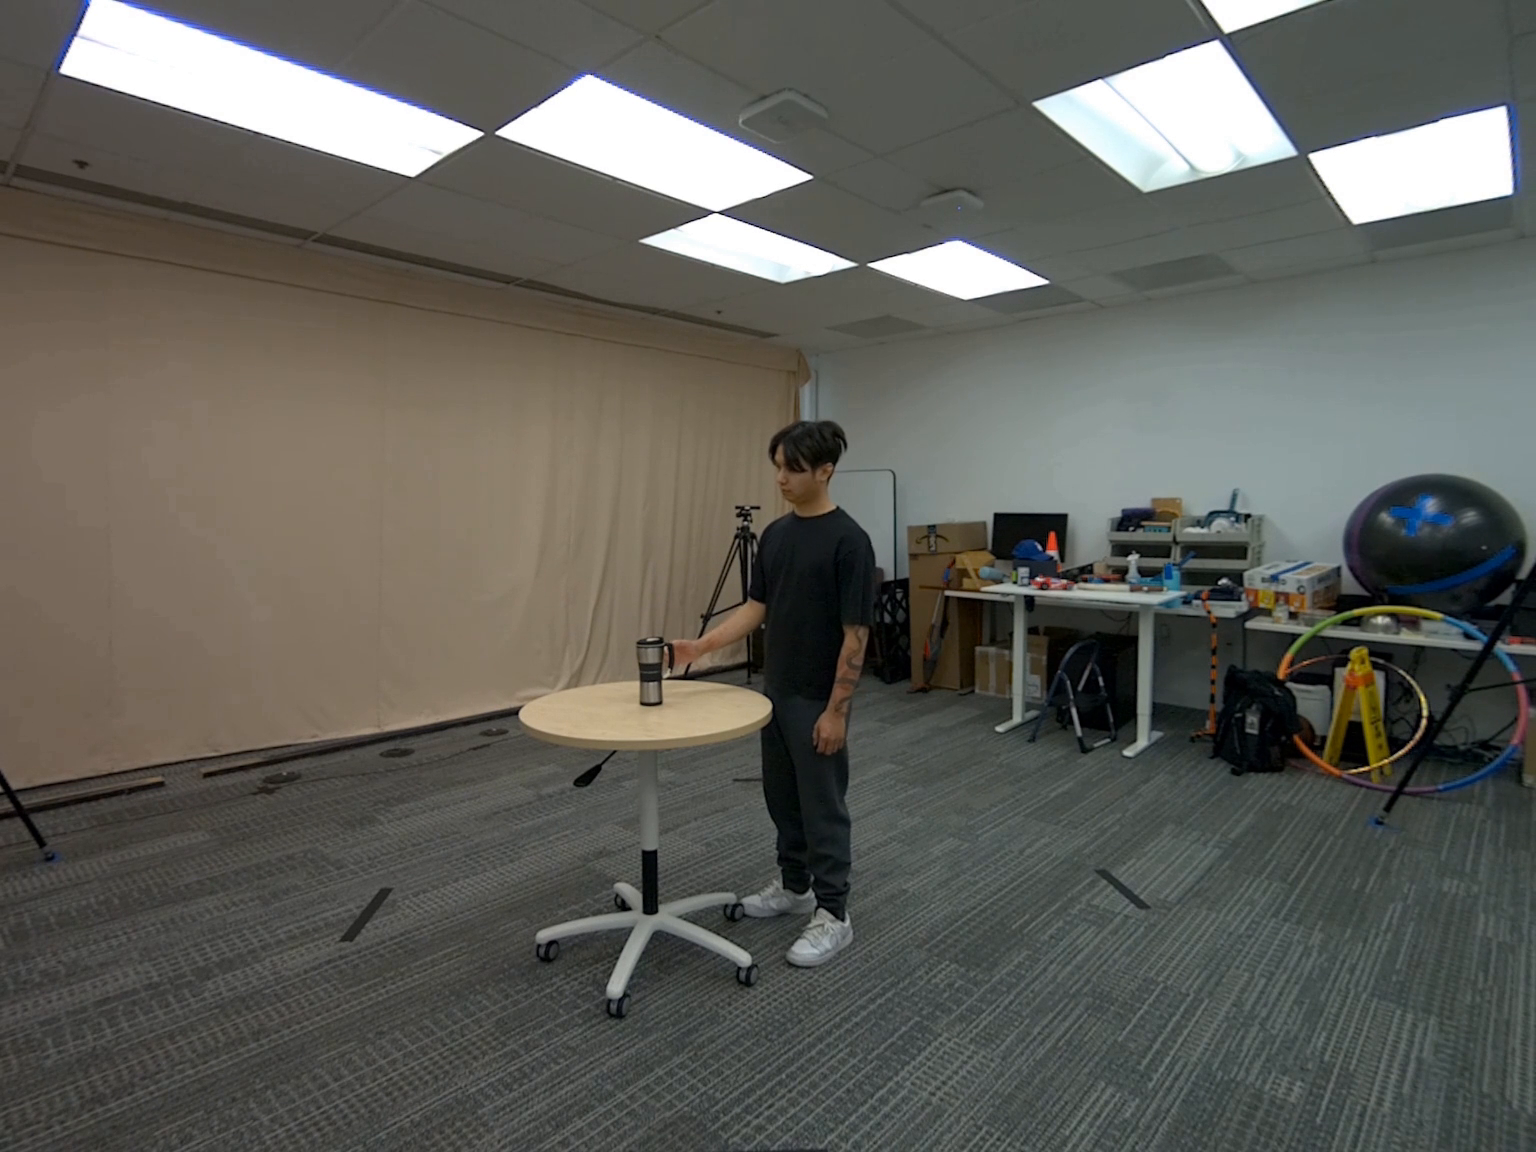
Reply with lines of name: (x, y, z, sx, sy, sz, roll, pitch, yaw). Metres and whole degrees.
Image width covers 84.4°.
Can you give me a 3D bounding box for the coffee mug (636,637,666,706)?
coffee mug: (-0.344, 0.297, 2.591, 0.126, 0.203, 0.085, -3, -4, 37)
